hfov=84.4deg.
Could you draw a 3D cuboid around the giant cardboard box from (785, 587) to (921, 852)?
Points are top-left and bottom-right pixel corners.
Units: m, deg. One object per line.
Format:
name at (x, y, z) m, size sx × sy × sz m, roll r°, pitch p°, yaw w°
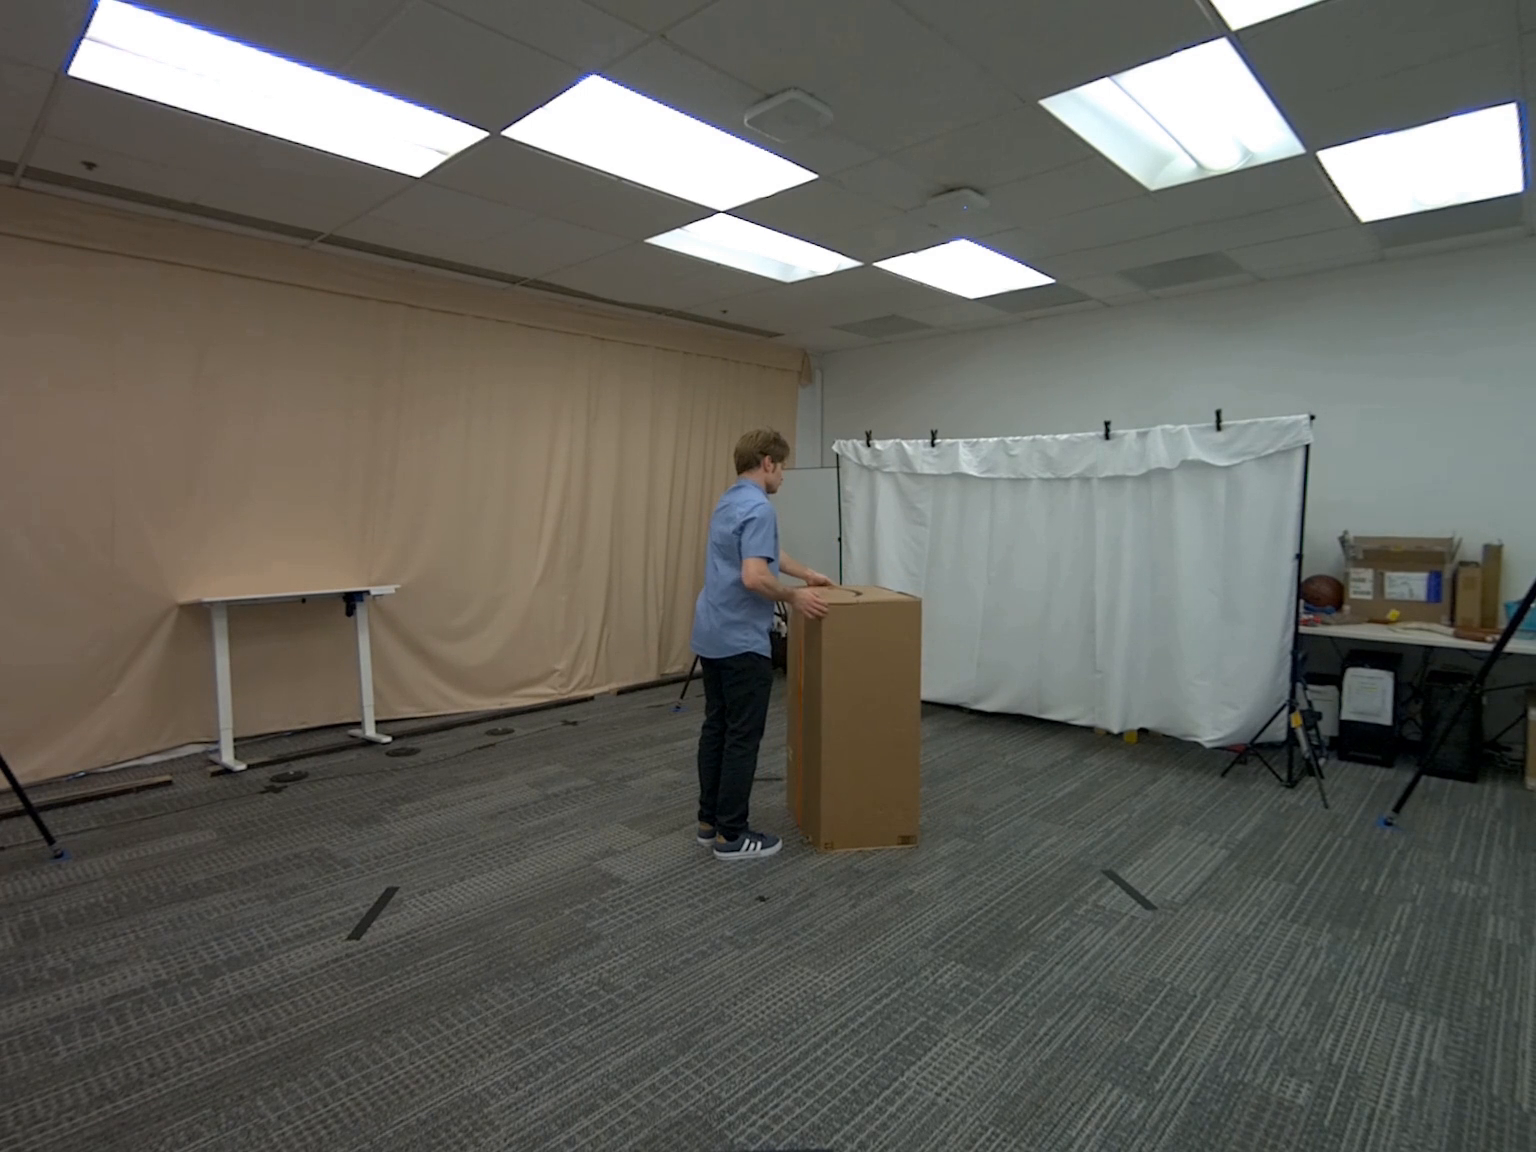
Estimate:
giant cardboard box at (0.353, 0.580, 3.657) m, size 0.421 × 1.024 × 0.585 m, roll 0°, pitch 3°, yaw -11°
